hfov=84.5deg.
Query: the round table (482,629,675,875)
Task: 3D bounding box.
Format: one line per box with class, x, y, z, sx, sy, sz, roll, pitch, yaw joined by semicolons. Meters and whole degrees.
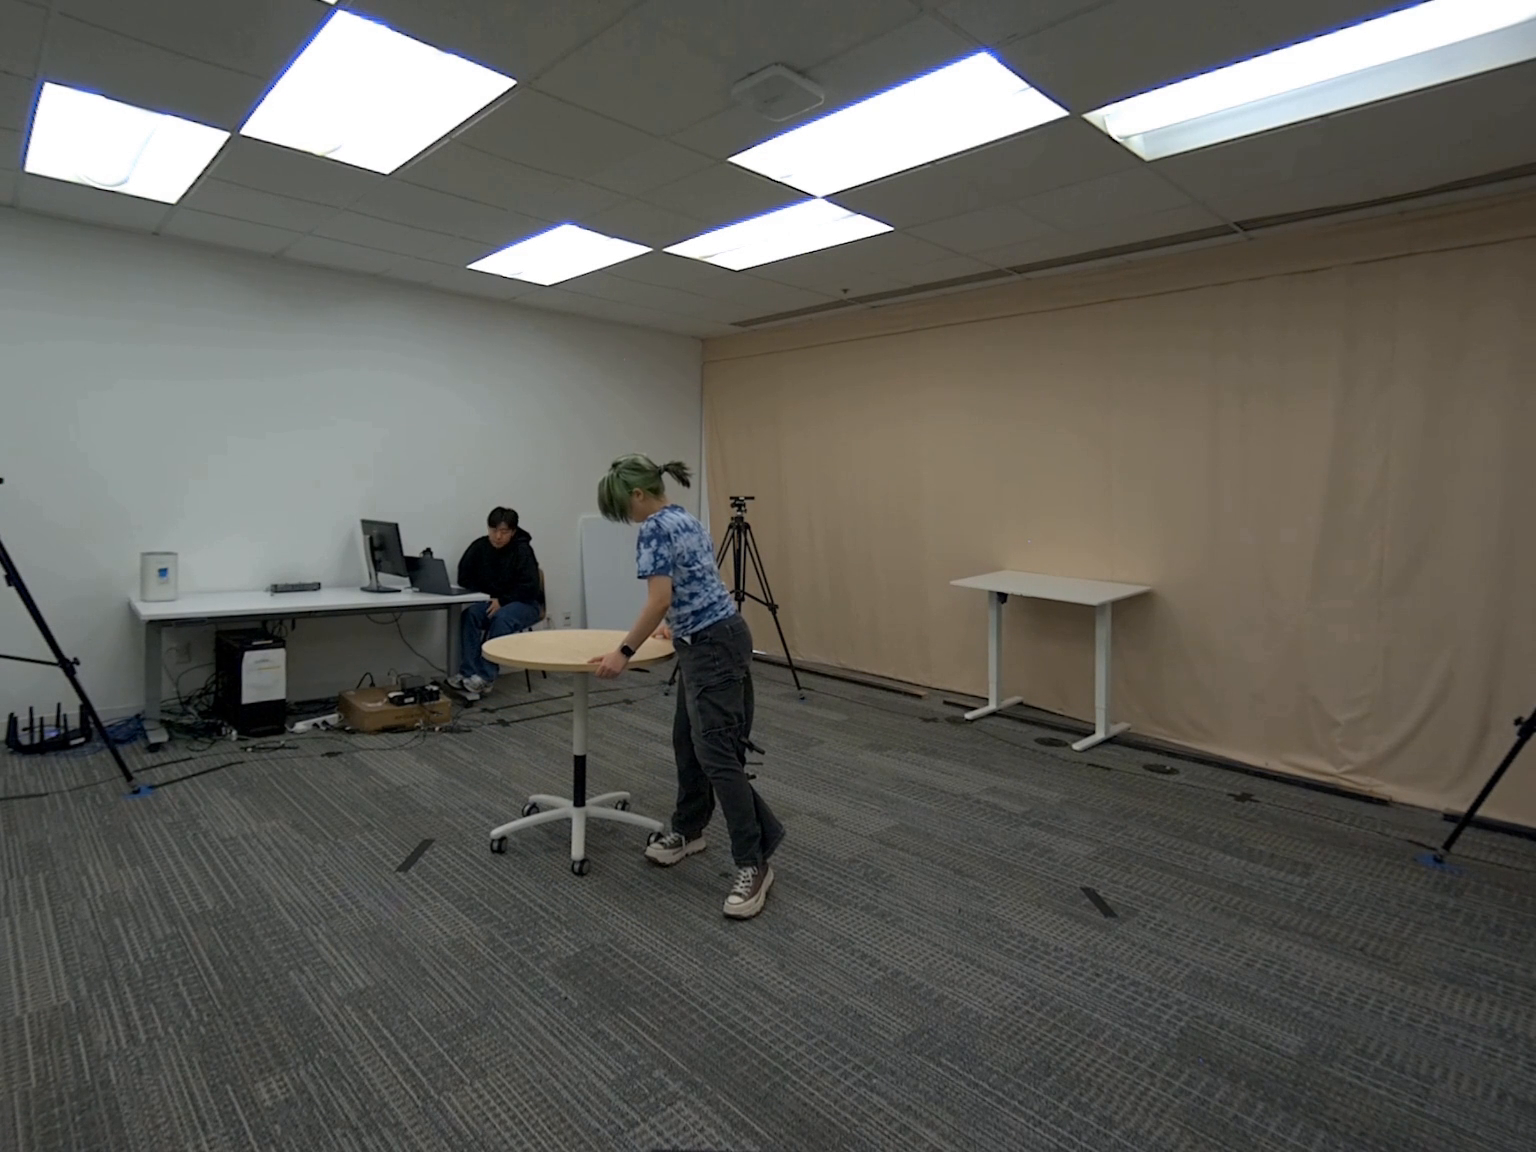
round table;-0.761;0.671;3.380;0.763;0.792;0.766;1;4;-1
